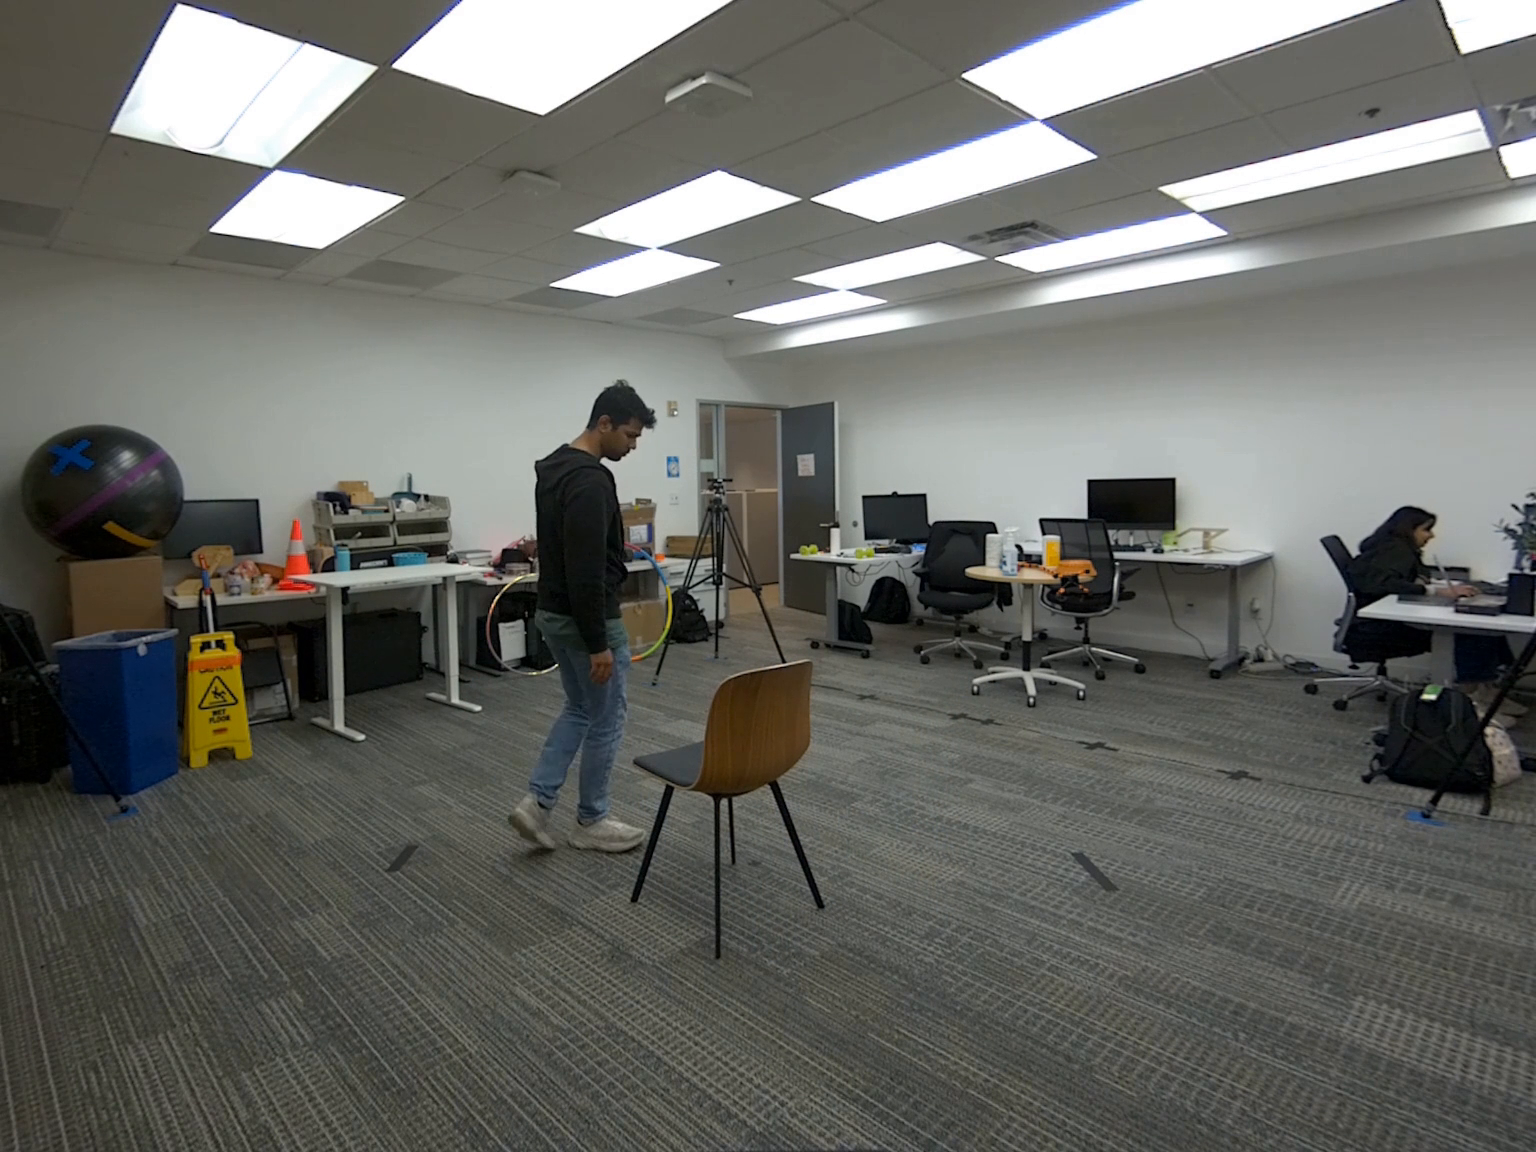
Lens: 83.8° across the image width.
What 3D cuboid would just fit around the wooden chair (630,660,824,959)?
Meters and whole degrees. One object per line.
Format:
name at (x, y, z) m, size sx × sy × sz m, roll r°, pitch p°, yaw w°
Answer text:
wooden chair at (-0.142, 0.658, 2.777) m, size 0.465 × 0.871 × 0.541 m, roll -5°, pitch 10°, yaw -41°
